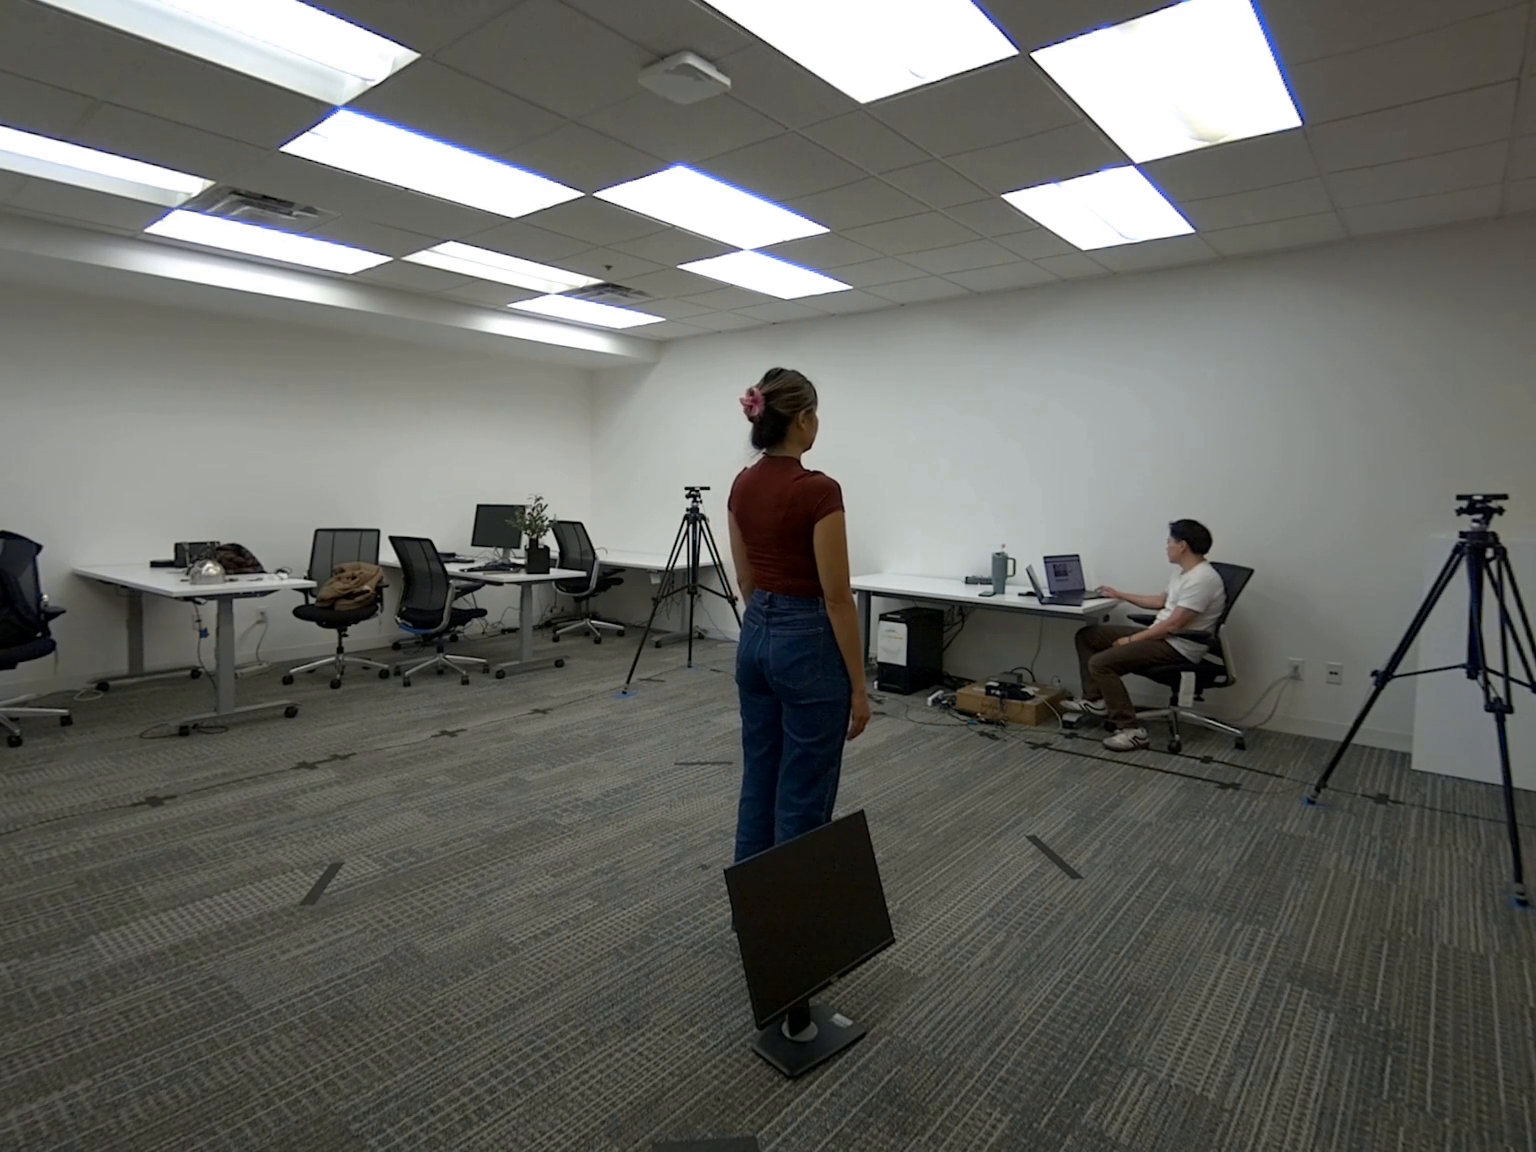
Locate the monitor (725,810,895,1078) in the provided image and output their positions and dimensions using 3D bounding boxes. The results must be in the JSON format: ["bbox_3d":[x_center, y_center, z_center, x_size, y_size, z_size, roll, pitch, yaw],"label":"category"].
[{"bbox_3d":[0.098,0.915,2.143,0.193,0.522,0.523,0,3,42],"label":"monitor"}]
